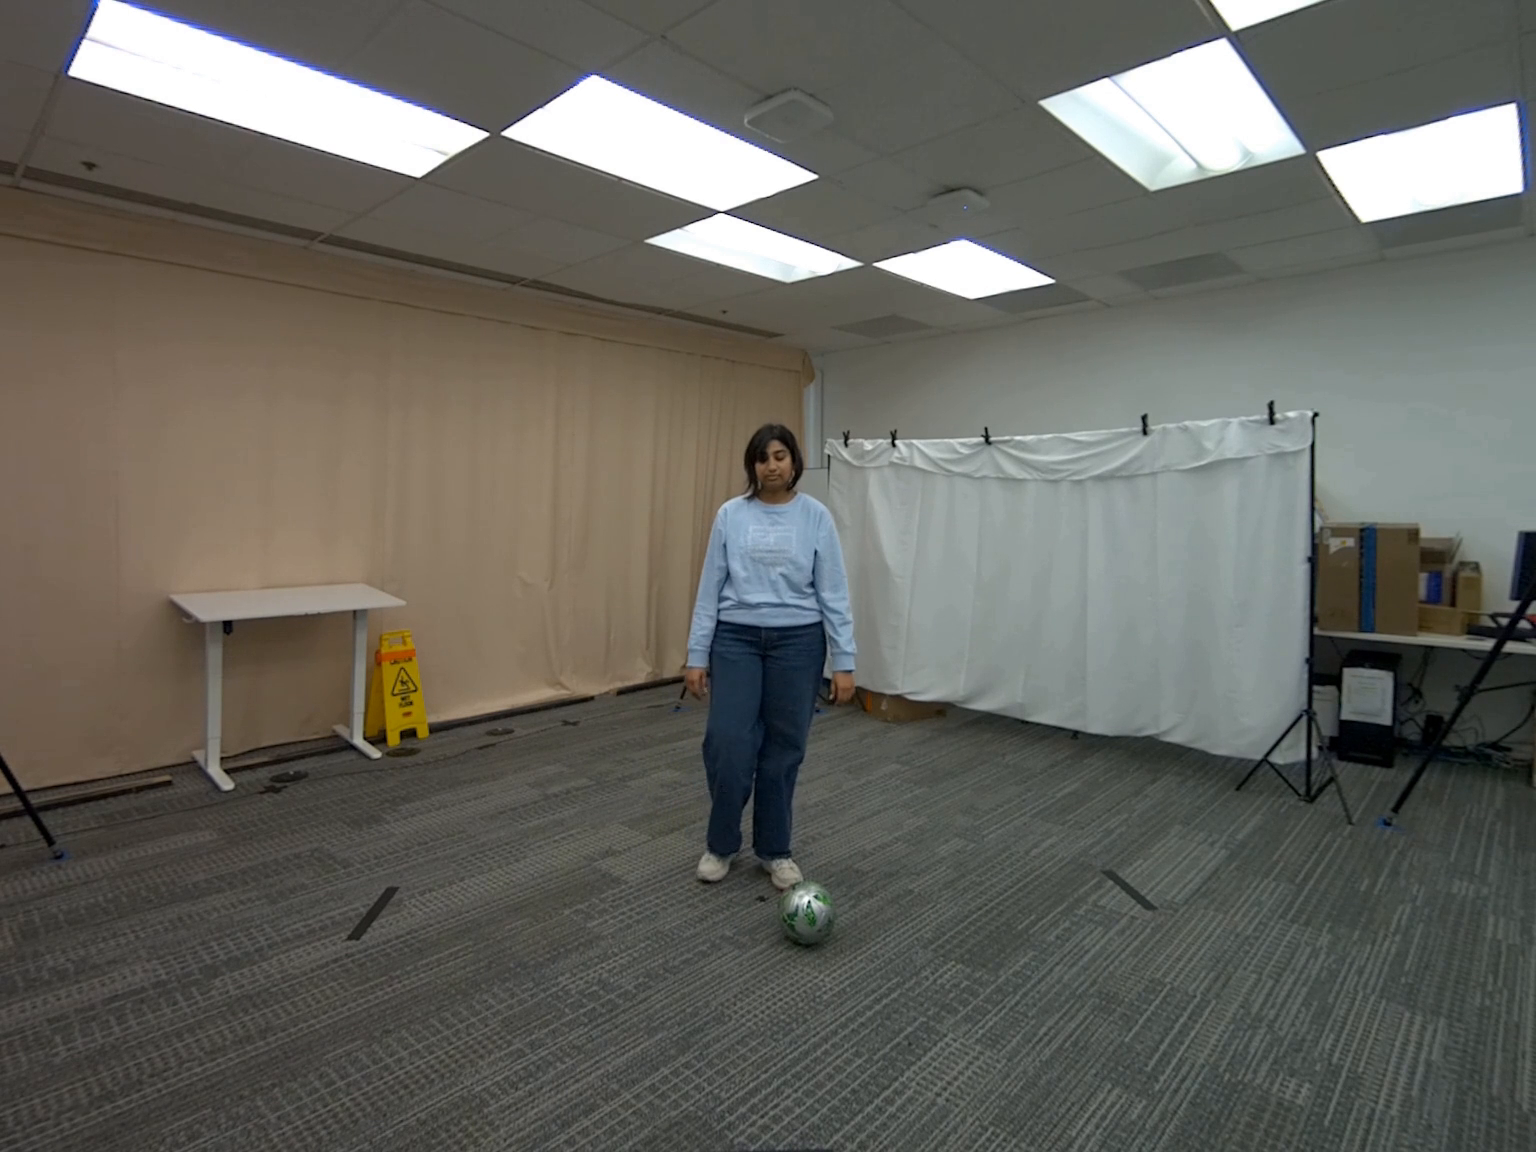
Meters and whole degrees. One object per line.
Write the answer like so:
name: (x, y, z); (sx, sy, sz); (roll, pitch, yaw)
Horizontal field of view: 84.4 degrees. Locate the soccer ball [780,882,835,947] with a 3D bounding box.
soccer ball: (0.123, 1.072, 2.691); (0.187, 0.187, 0.188); (0, 4, -2)
